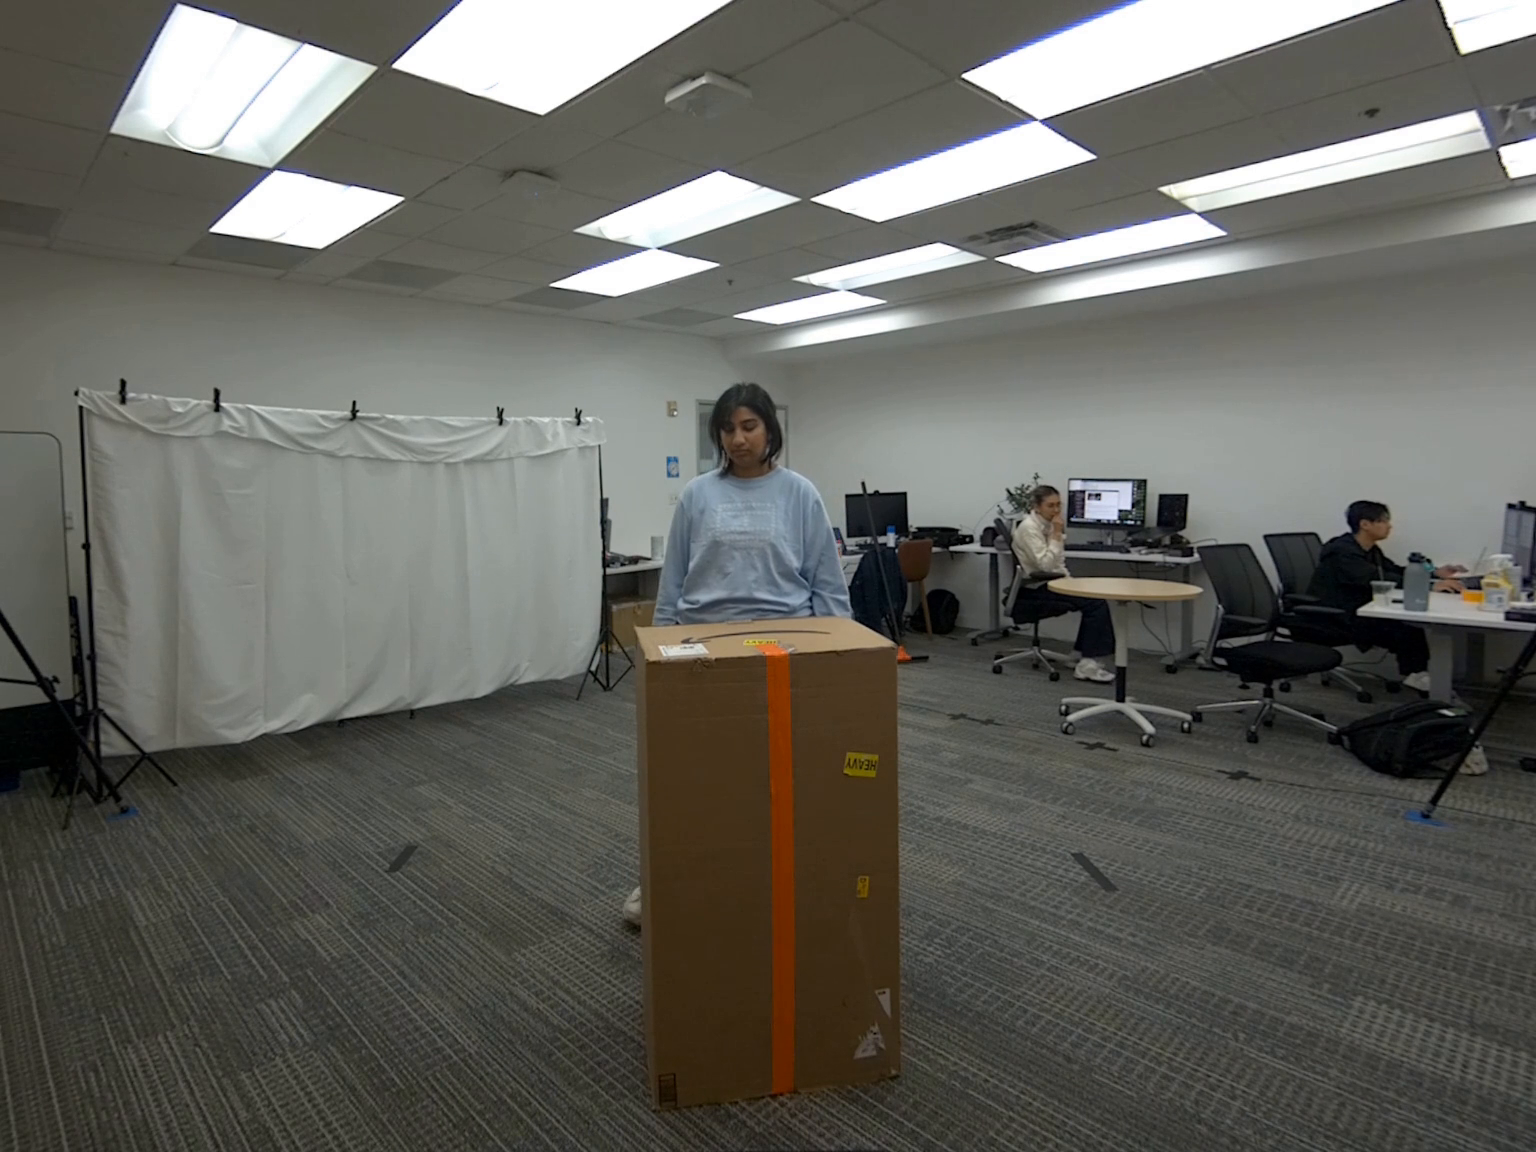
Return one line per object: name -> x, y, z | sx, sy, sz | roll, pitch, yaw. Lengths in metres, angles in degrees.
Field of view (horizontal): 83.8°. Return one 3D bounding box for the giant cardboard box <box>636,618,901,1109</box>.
giant cardboard box -> -0.019, 0.652, 2.117 | 0.572, 1.022, 0.432 | -2, 4, -11
